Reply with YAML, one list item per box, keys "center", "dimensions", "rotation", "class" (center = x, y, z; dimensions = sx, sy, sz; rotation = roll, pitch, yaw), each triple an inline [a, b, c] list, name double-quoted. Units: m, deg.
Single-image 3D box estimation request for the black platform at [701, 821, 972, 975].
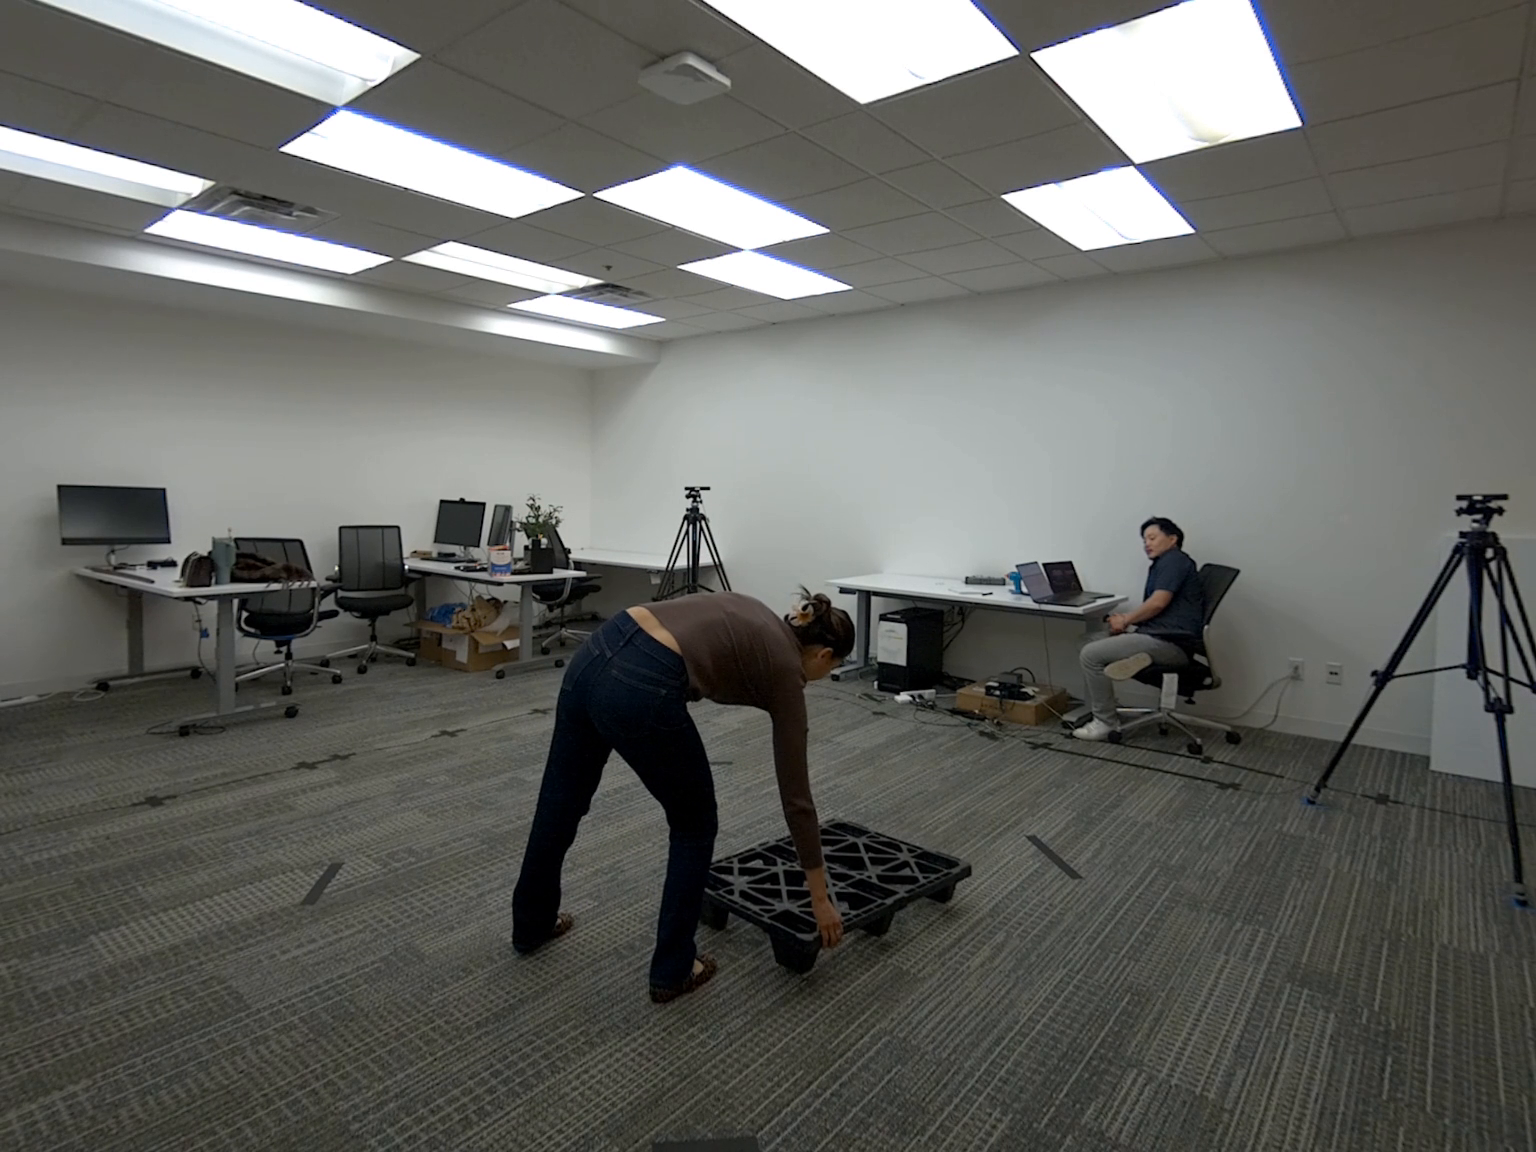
- center: [0.180, 1.028, 2.795]
  dimensions: [0.781, 0.143, 0.624]
  rotation: [-3, 4, -42]
  class: "black platform"
